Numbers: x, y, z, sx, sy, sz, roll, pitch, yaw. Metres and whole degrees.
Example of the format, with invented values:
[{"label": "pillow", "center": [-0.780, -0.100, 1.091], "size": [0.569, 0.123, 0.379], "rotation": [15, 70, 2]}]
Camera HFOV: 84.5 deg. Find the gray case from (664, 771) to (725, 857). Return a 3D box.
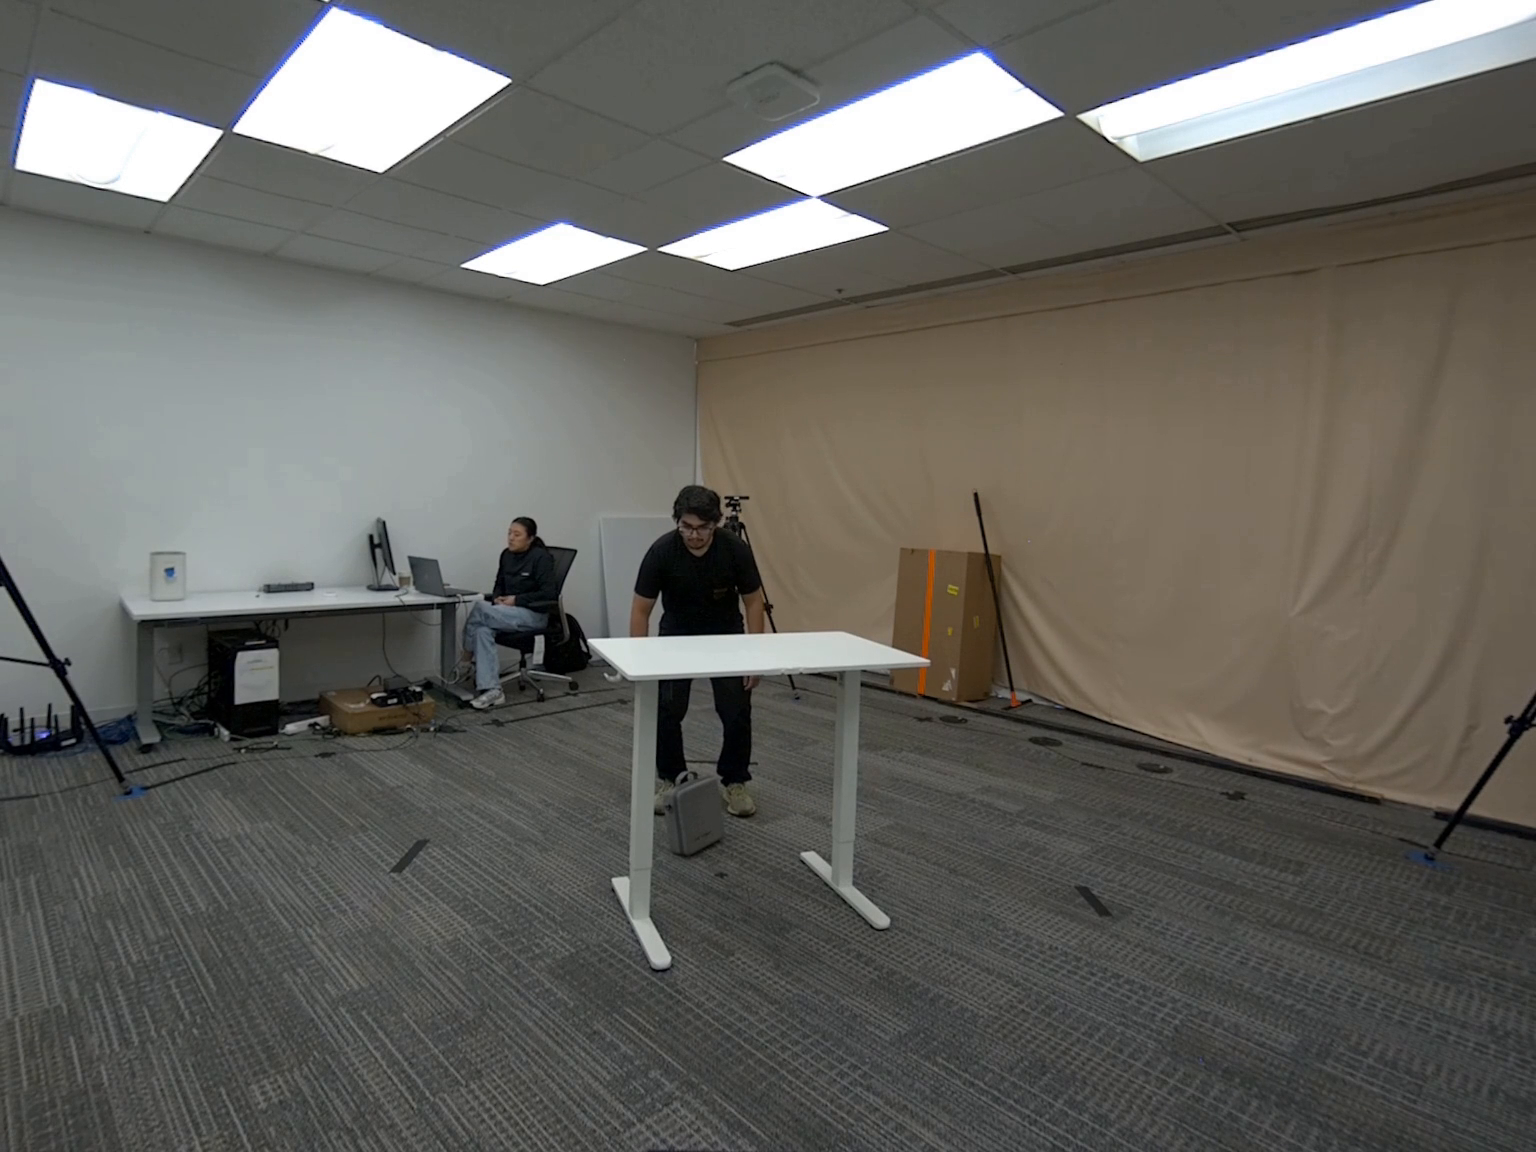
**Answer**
[{"label": "gray case", "center": [-0.305, 0.947, 3.348], "size": [0.106, 0.261, 0.251], "rotation": [-9, -3, 35]}]
